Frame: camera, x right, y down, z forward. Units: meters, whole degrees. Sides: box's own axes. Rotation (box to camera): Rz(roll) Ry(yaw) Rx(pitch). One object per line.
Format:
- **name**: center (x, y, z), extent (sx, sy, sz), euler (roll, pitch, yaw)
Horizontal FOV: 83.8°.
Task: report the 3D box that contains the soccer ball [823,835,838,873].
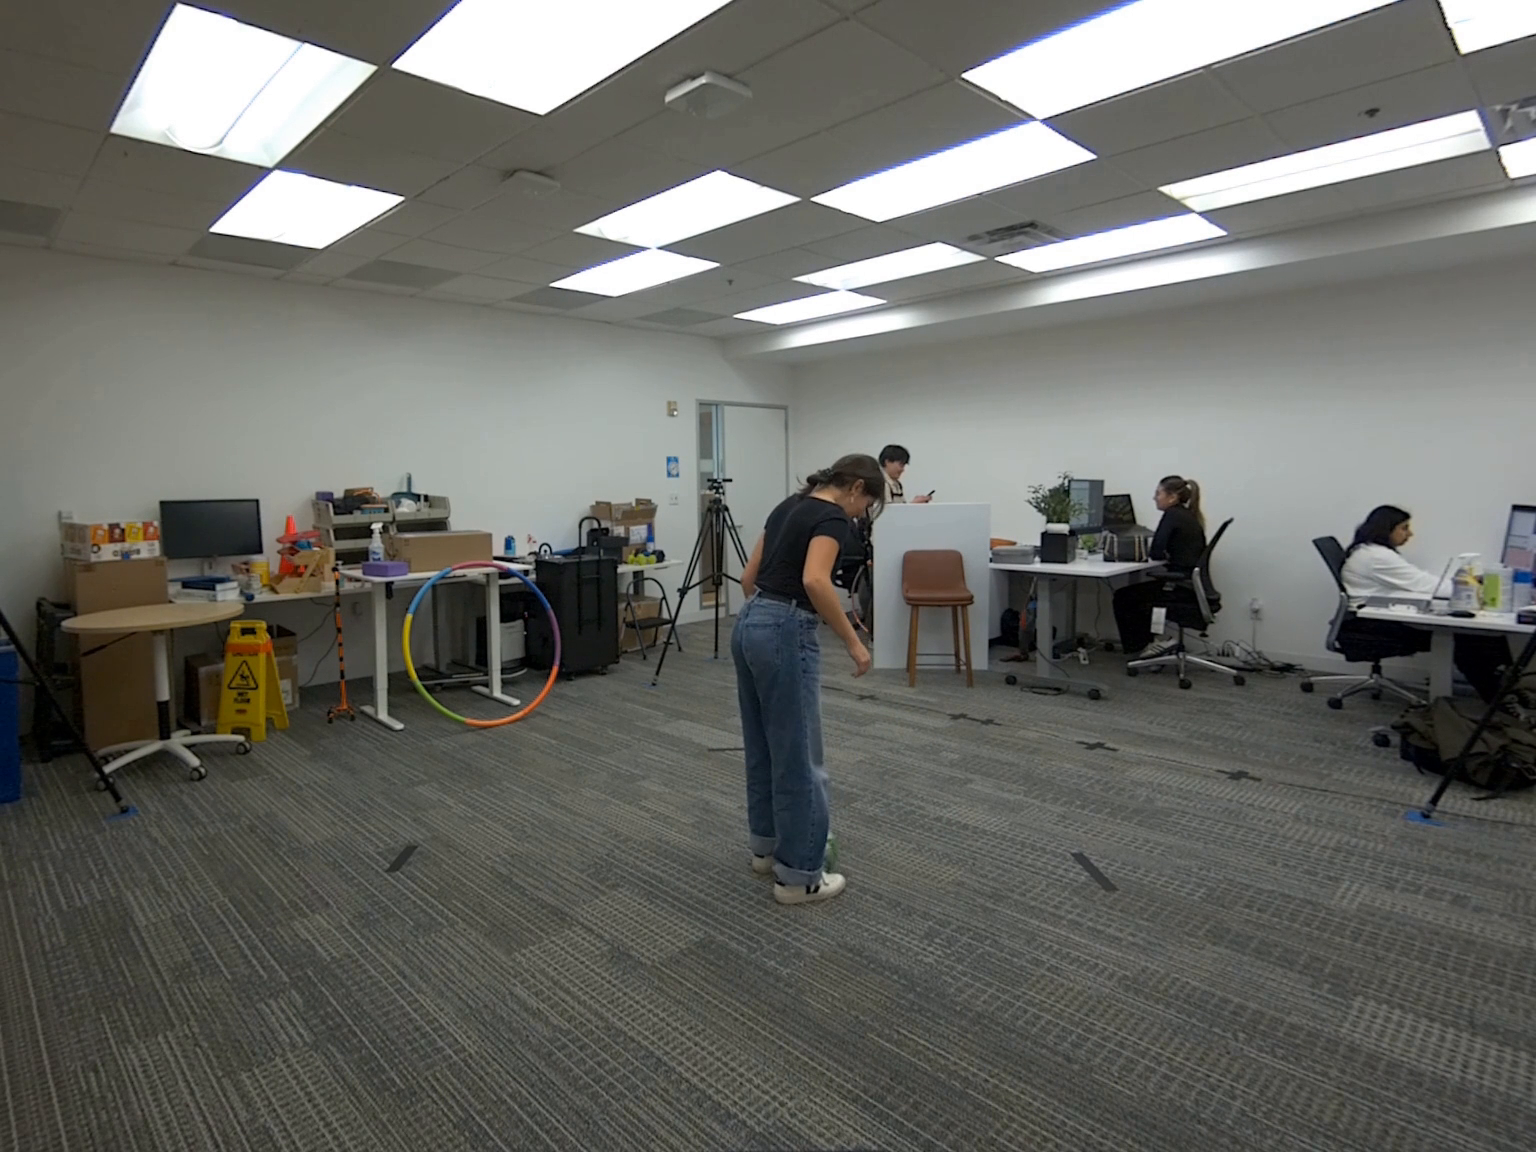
- **soccer ball**: center (0.165, 0.959, 2.988), extent (0.187, 0.187, 0.188), euler (-1, 5, -2)
